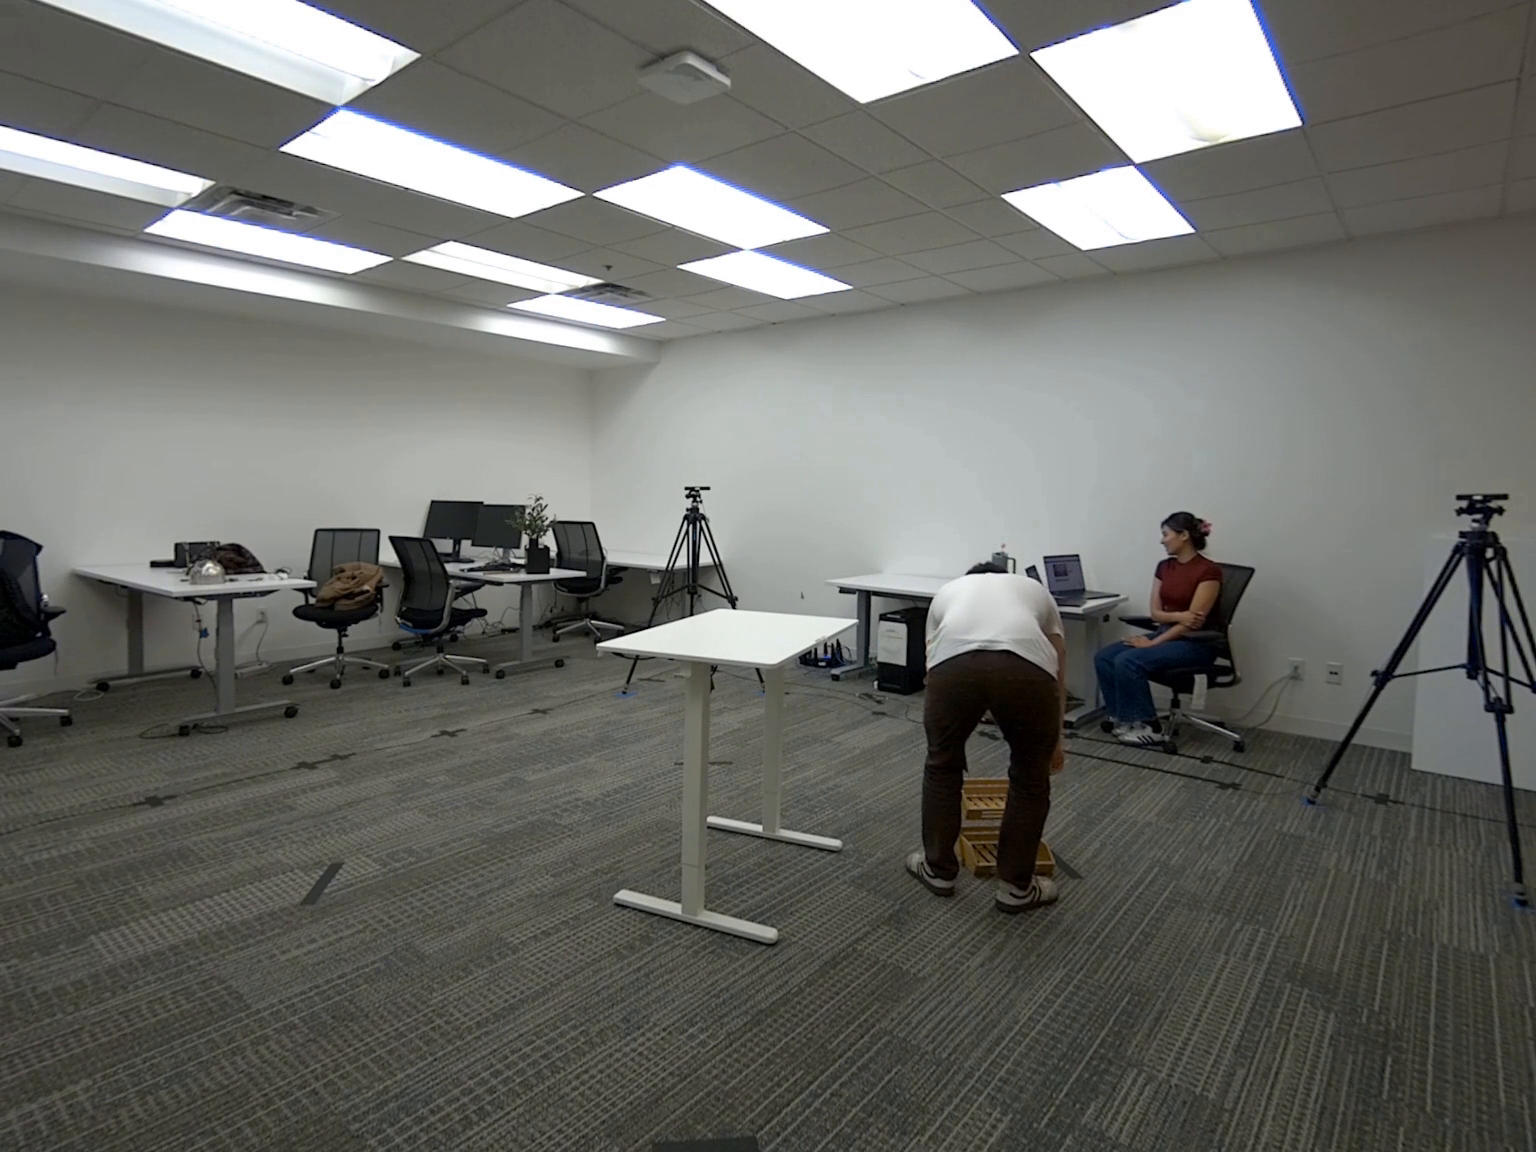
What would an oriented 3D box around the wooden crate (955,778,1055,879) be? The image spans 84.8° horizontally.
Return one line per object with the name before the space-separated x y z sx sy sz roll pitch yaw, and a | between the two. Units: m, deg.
wooden crate | 0.881 0.943 3.231 0.322 0.272 0.305 0 4 -7
